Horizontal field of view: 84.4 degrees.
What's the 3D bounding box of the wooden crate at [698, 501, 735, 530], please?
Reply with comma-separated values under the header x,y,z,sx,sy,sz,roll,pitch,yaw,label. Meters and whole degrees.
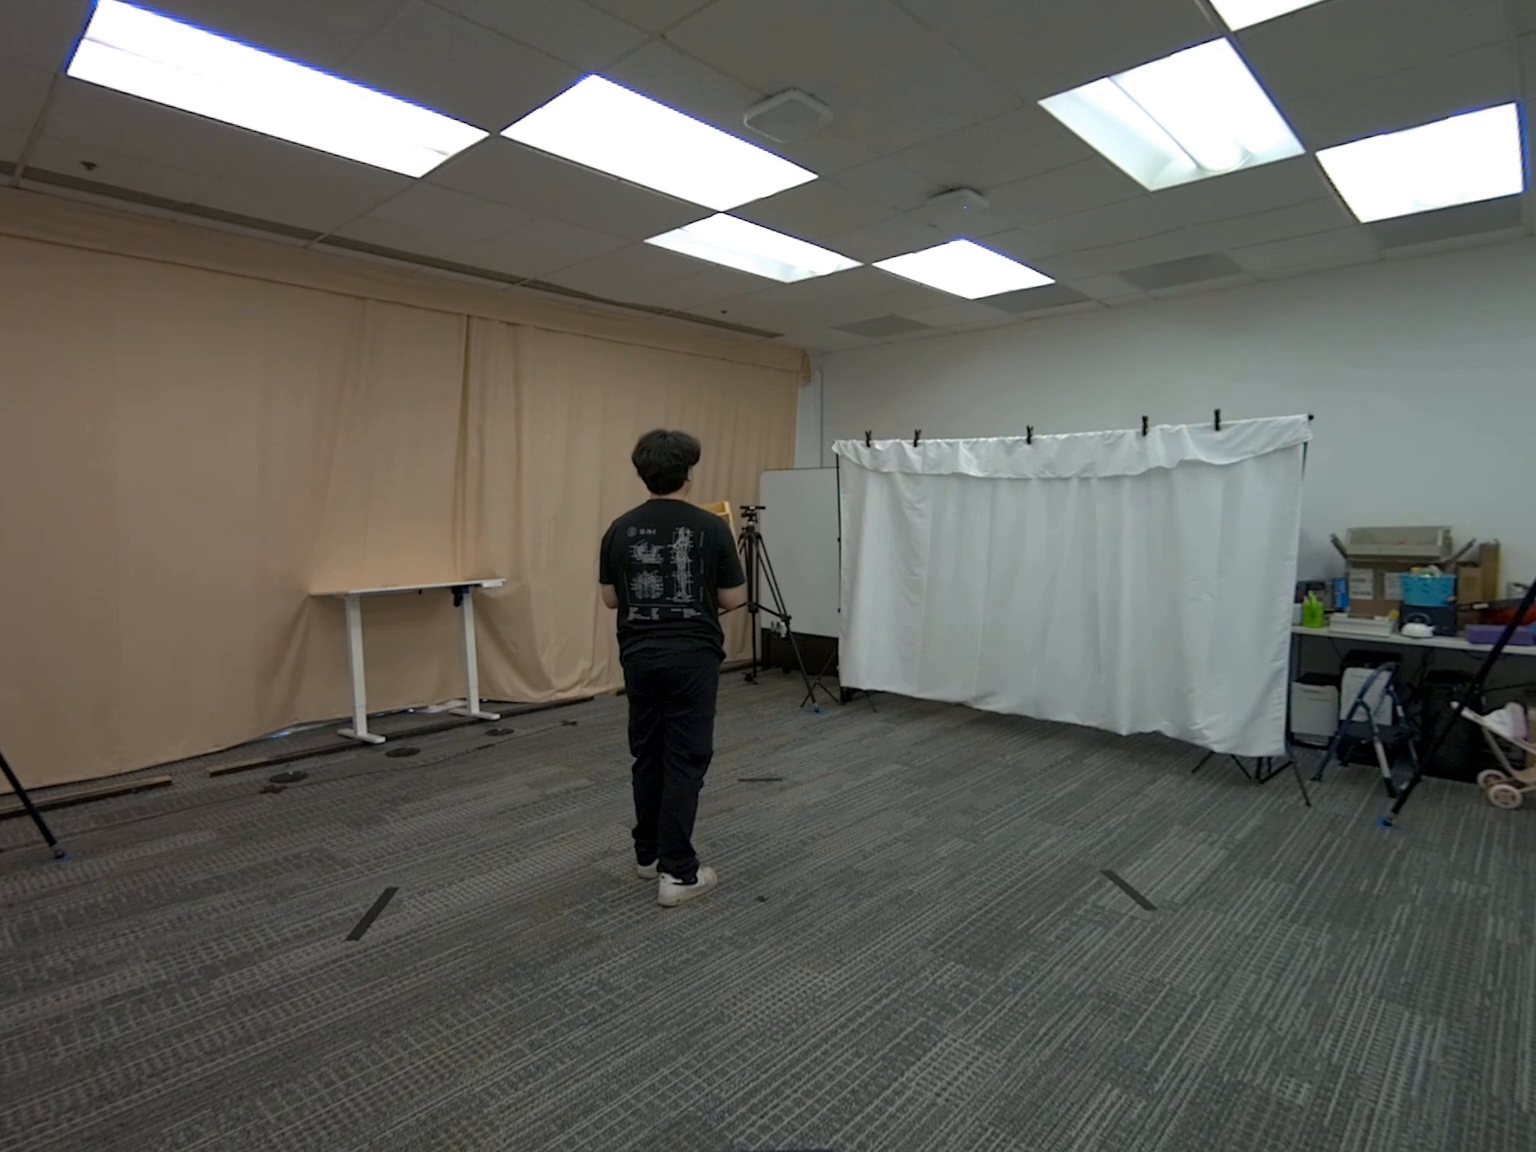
x,y,z,sx,sy,sz,roll,pitch,yaw,label
-0.296,-0.157,3.482,0.324,0.272,0.304,-10,6,-2,wooden crate
